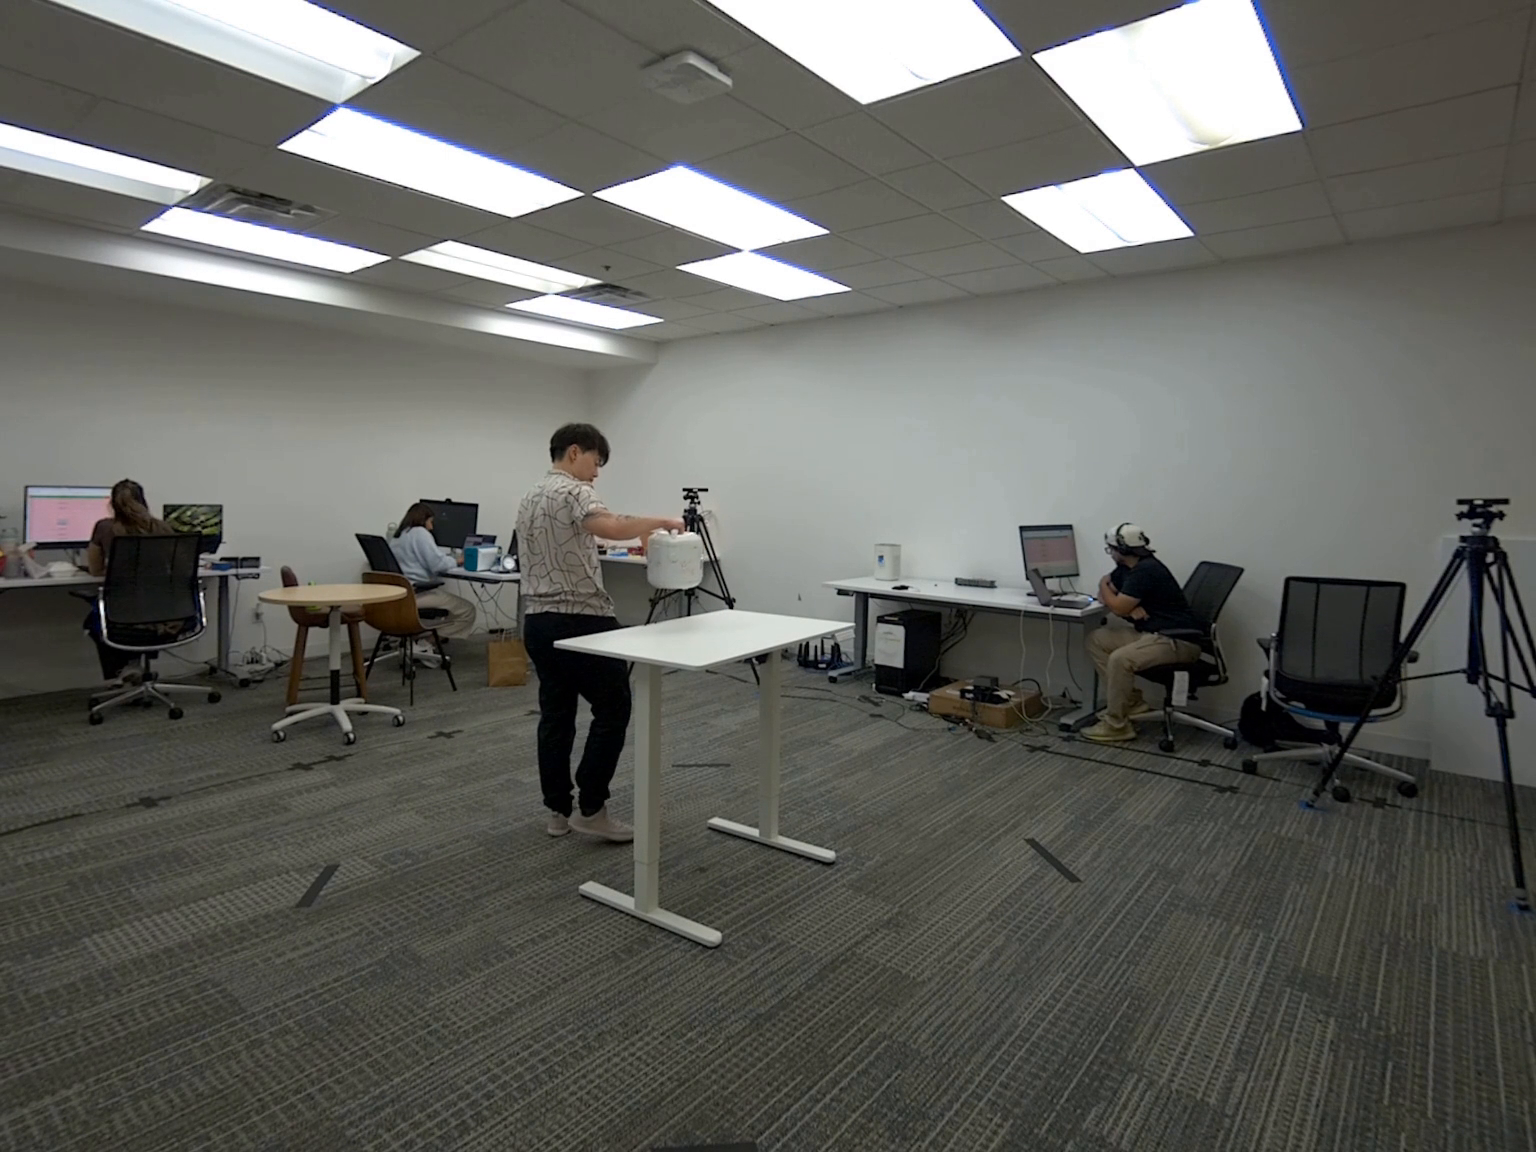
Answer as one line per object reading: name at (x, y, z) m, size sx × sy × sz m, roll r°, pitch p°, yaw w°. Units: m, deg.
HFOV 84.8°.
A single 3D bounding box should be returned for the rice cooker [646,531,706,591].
rice cooker at (-0.367, -0.078, 3.291) m, size 0.217 × 0.231 × 0.222 m, roll 0°, pitch 7°, yaw -1°
